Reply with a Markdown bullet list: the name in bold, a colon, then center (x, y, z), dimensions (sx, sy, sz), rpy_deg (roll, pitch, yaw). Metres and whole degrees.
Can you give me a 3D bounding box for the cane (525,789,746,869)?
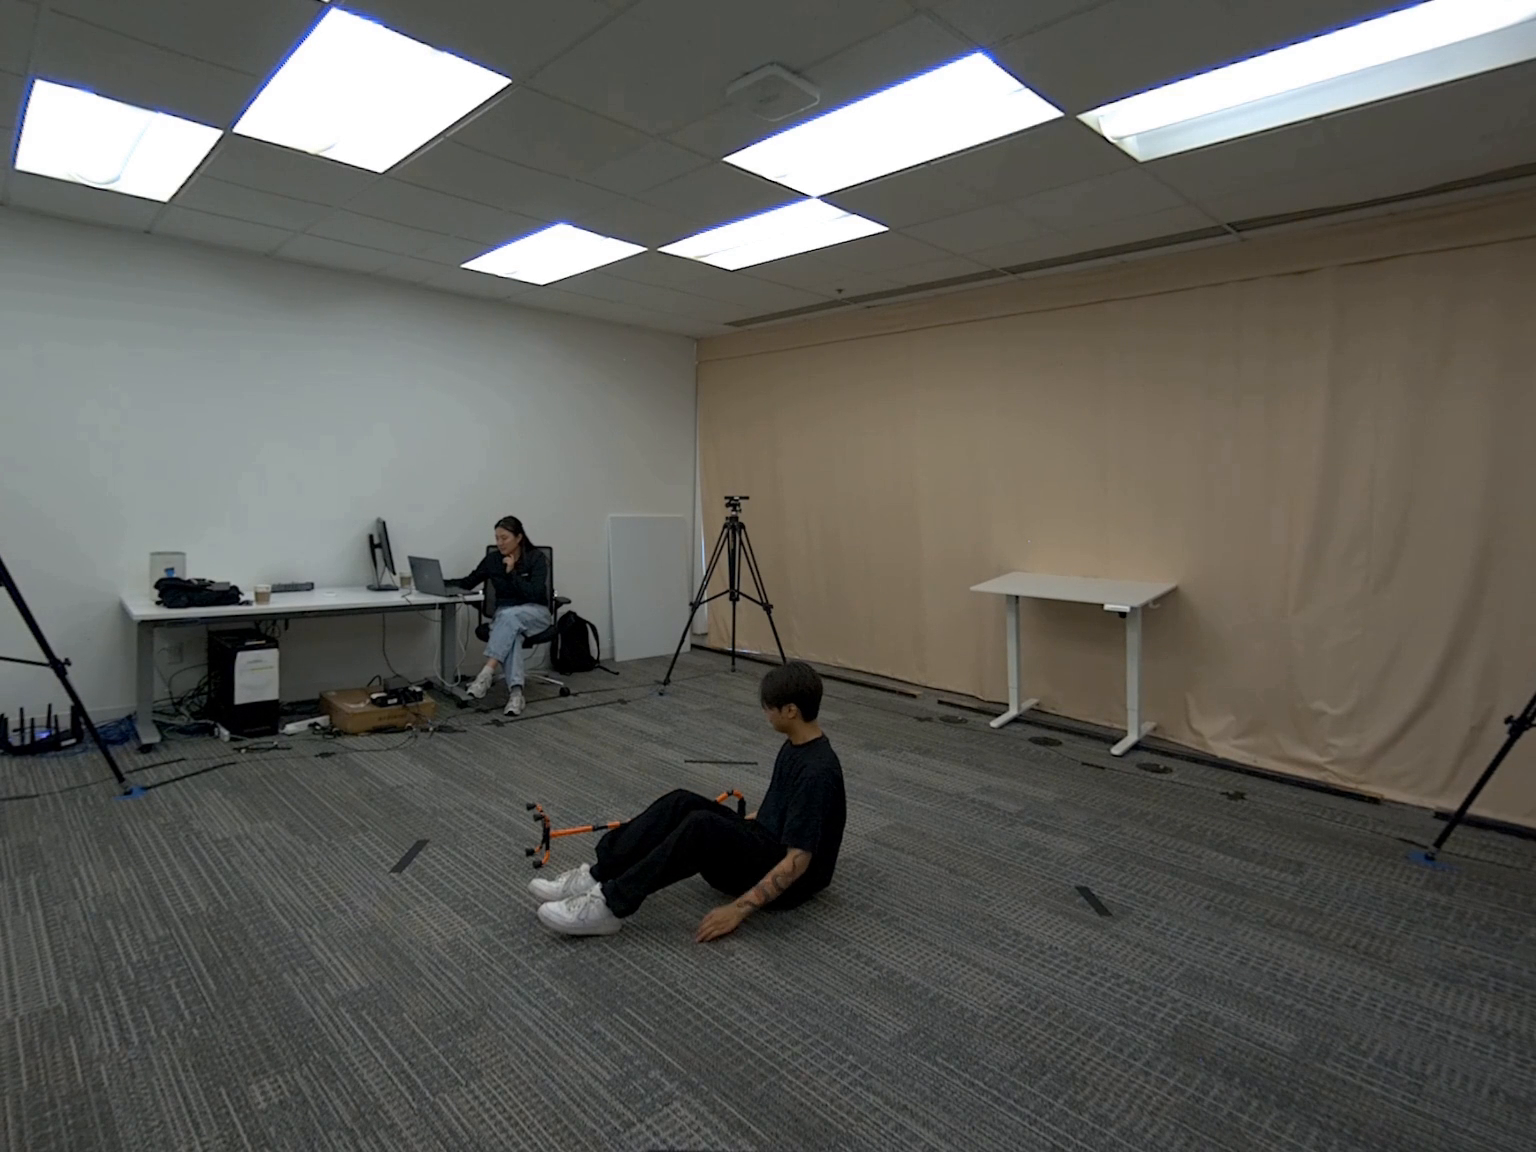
- **cane**: center (-0.505, 0.962, 3.377), dimensions (0.890, 0.206, 0.155), rpy_deg (0, 3, -27)
